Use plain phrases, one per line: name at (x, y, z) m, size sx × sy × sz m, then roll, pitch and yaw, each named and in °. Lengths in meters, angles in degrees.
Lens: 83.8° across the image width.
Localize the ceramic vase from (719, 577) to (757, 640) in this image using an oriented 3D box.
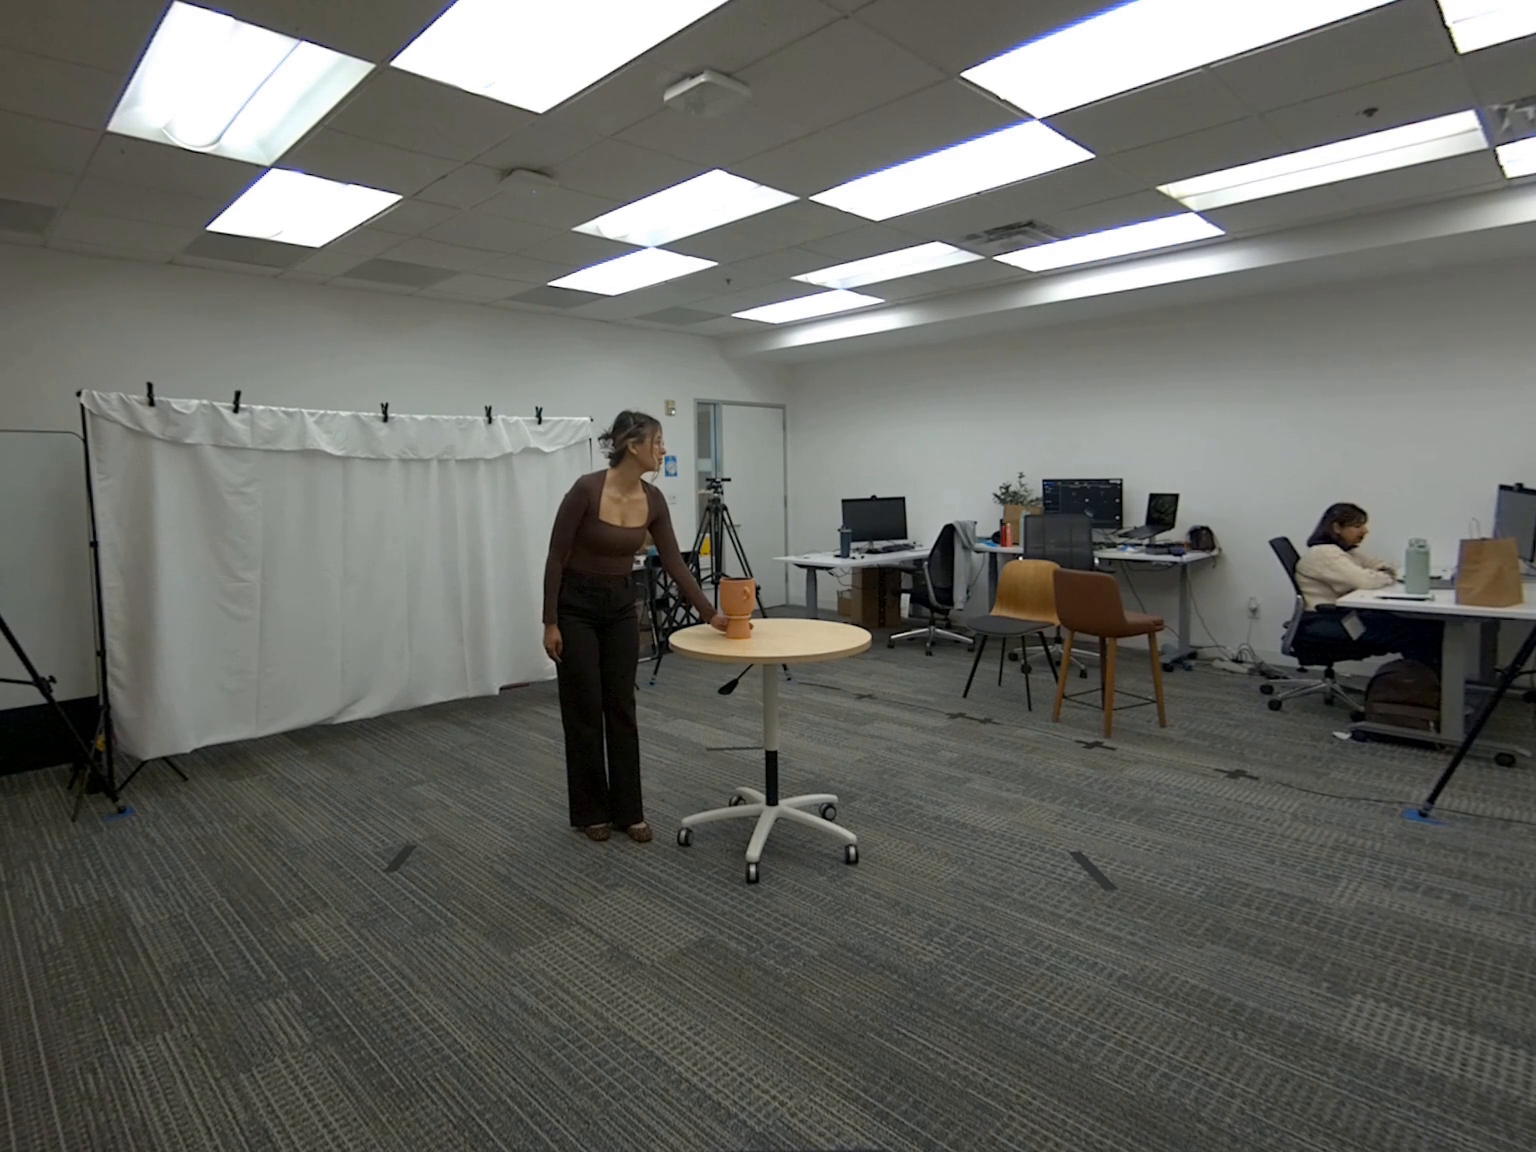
ceramic vase at (-0.118, 0.121, 3.231) m, size 0.136 × 0.219 × 0.157 m, roll -2°, pitch 3°, yaw 14°
